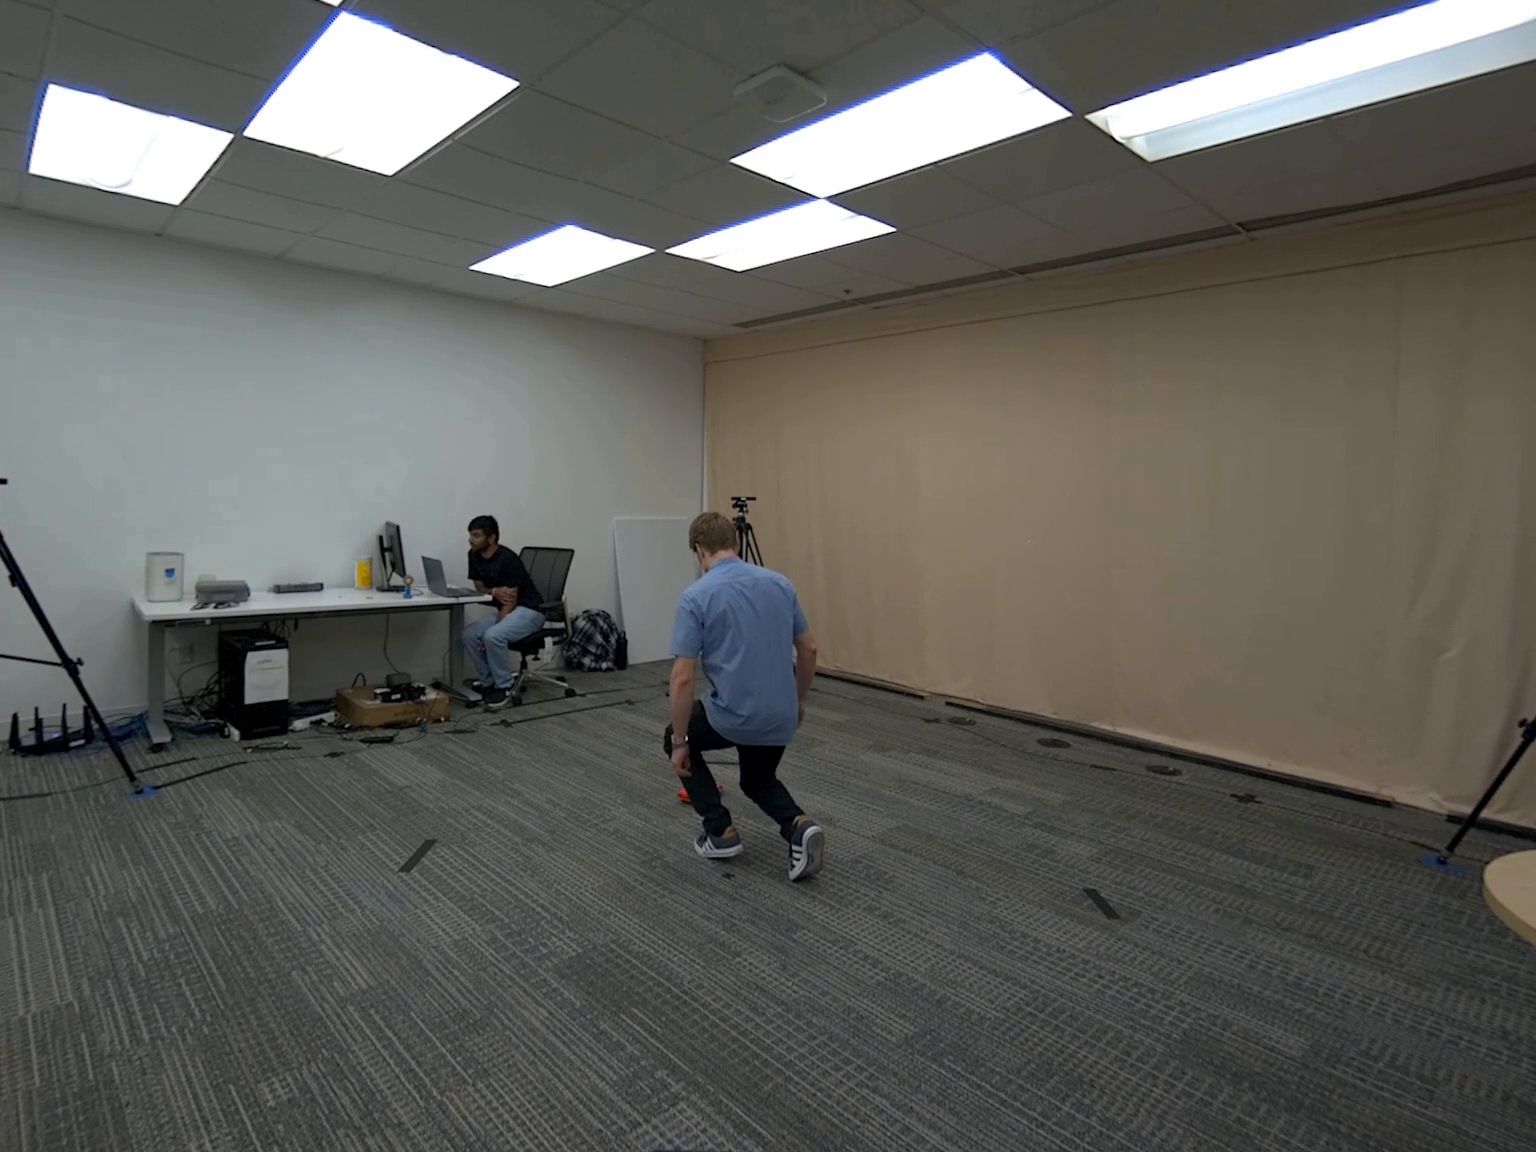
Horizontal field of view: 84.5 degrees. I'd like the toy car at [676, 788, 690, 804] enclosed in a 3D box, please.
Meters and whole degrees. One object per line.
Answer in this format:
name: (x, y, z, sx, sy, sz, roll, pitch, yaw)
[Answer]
toy car: (-0.331, 1.007, 3.902, 0.133, 0.083, 0.248, 3, -7, 30)
